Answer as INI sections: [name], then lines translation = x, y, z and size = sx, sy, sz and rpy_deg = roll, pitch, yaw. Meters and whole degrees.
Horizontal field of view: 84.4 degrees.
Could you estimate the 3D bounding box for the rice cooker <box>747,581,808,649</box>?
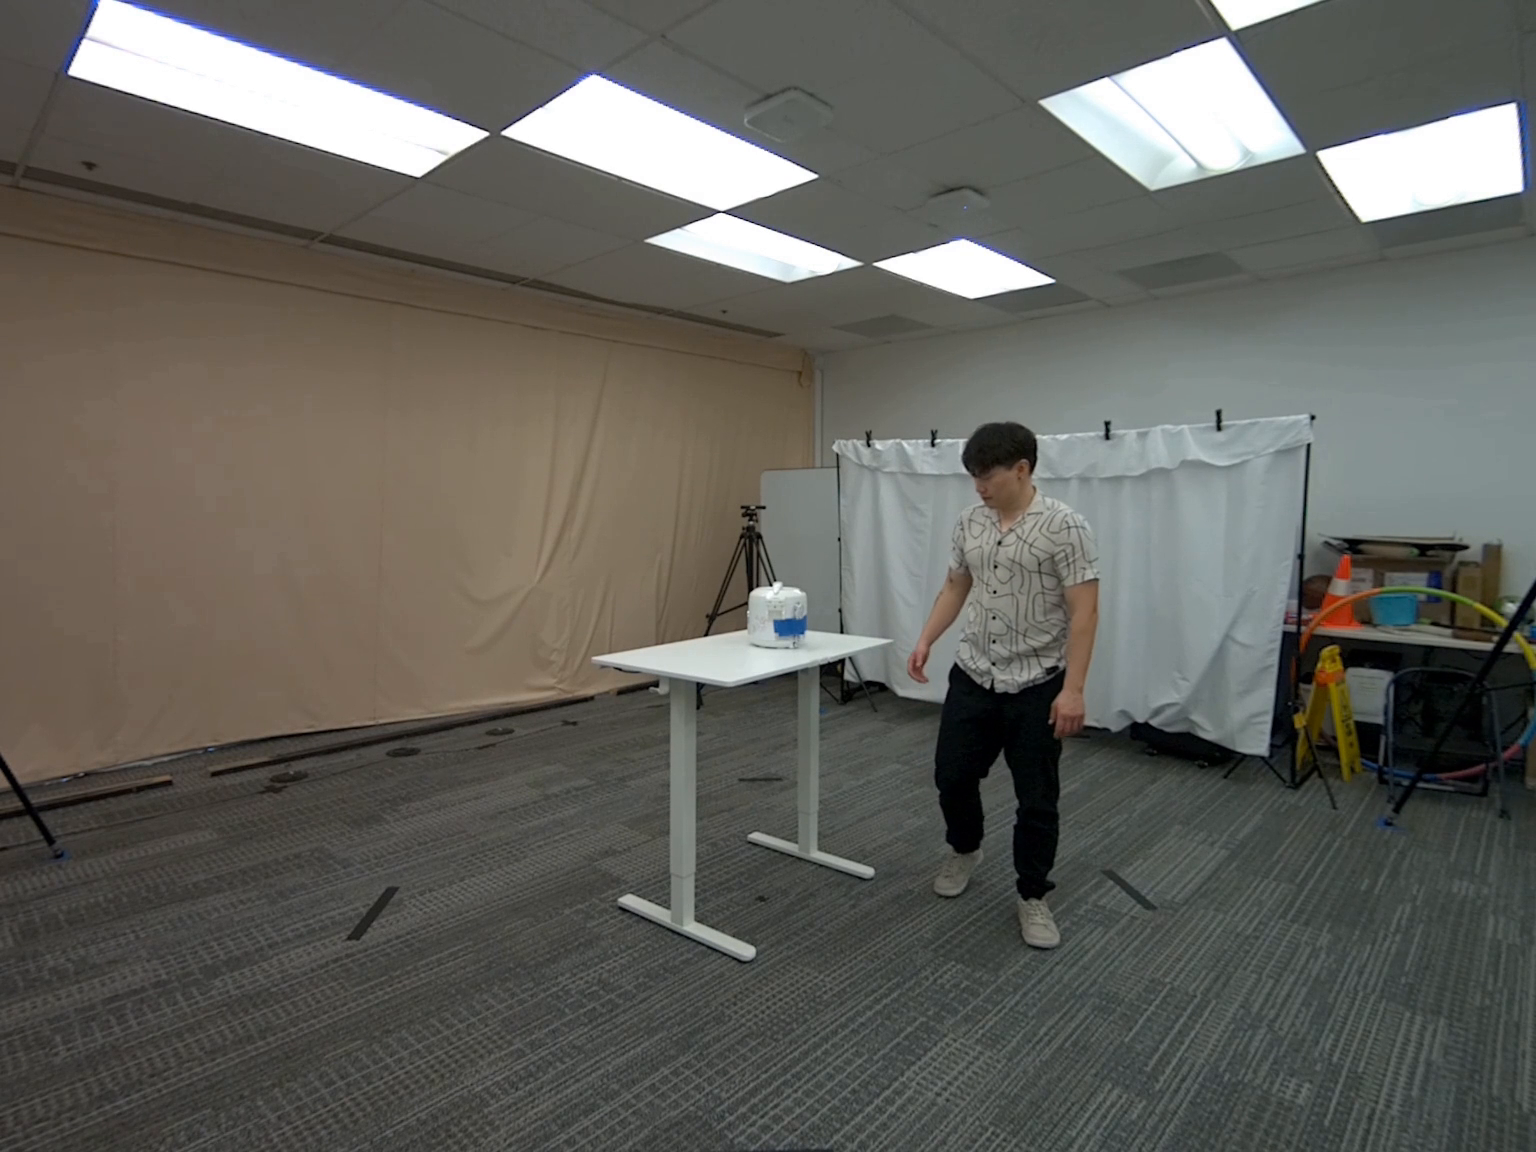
[rice cooker]
translation = 0.037, 0.138, 3.075
size = 0.220, 0.232, 0.219
rpy_deg = 1, 3, 8
